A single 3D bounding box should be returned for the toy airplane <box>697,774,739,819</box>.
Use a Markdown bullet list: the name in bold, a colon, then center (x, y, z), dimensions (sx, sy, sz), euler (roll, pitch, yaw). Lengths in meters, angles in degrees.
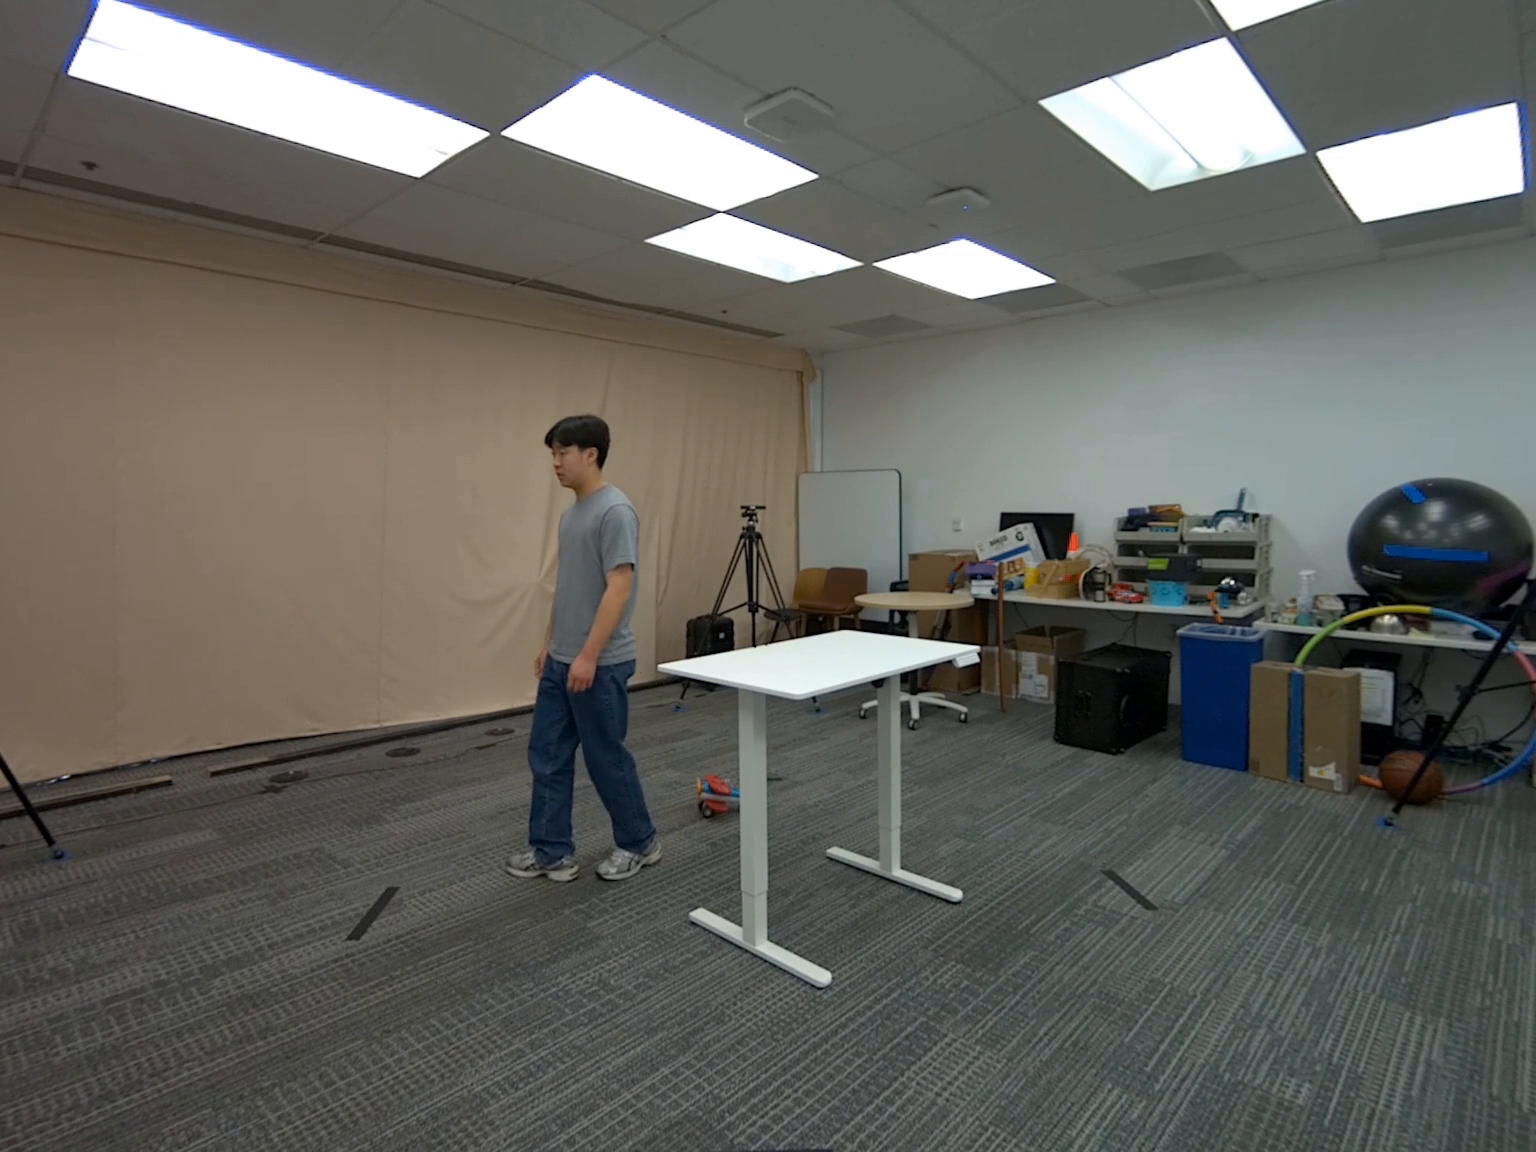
- **toy airplane**: center (-0.208, 1.001, 3.847), dimensions (0.251, 0.156, 0.259), euler (-5, 6, -44)
